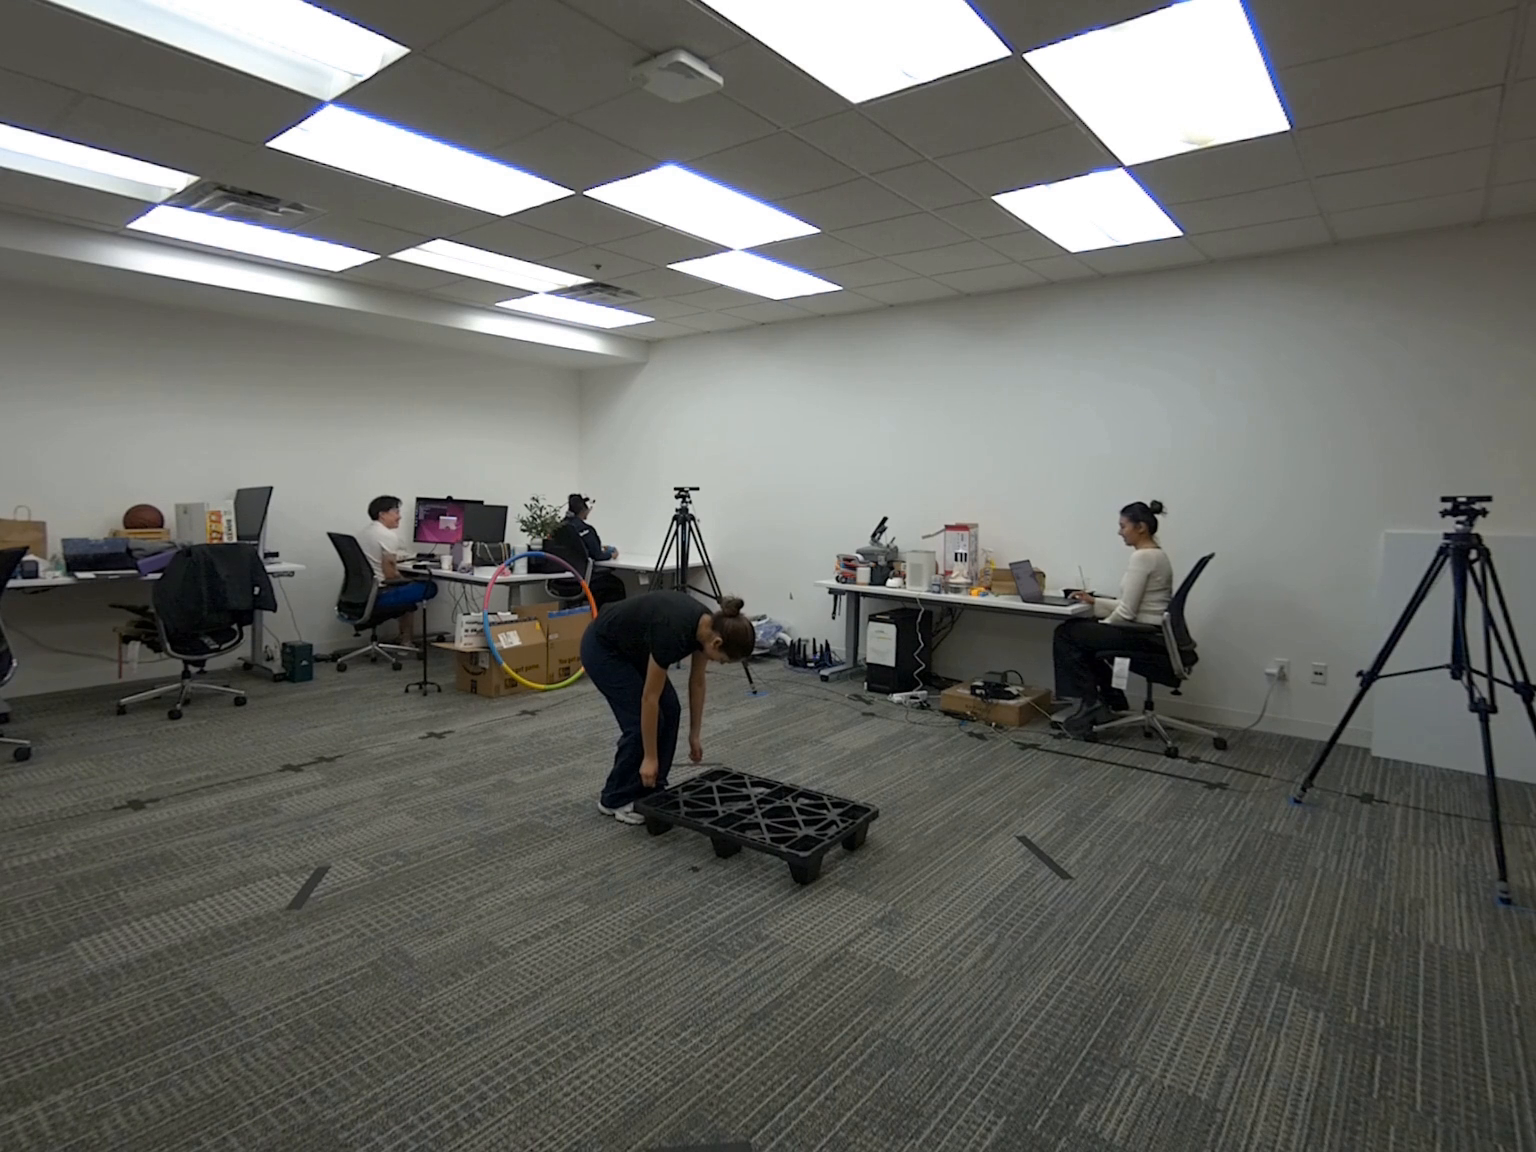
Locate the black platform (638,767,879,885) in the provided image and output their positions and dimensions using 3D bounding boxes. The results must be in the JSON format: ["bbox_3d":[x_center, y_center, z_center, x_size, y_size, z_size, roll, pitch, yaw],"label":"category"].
[{"bbox_3d":[-0.033,0.974,3.401,0.832,0.143,0.588,5,6,35],"label":"black platform"}]
